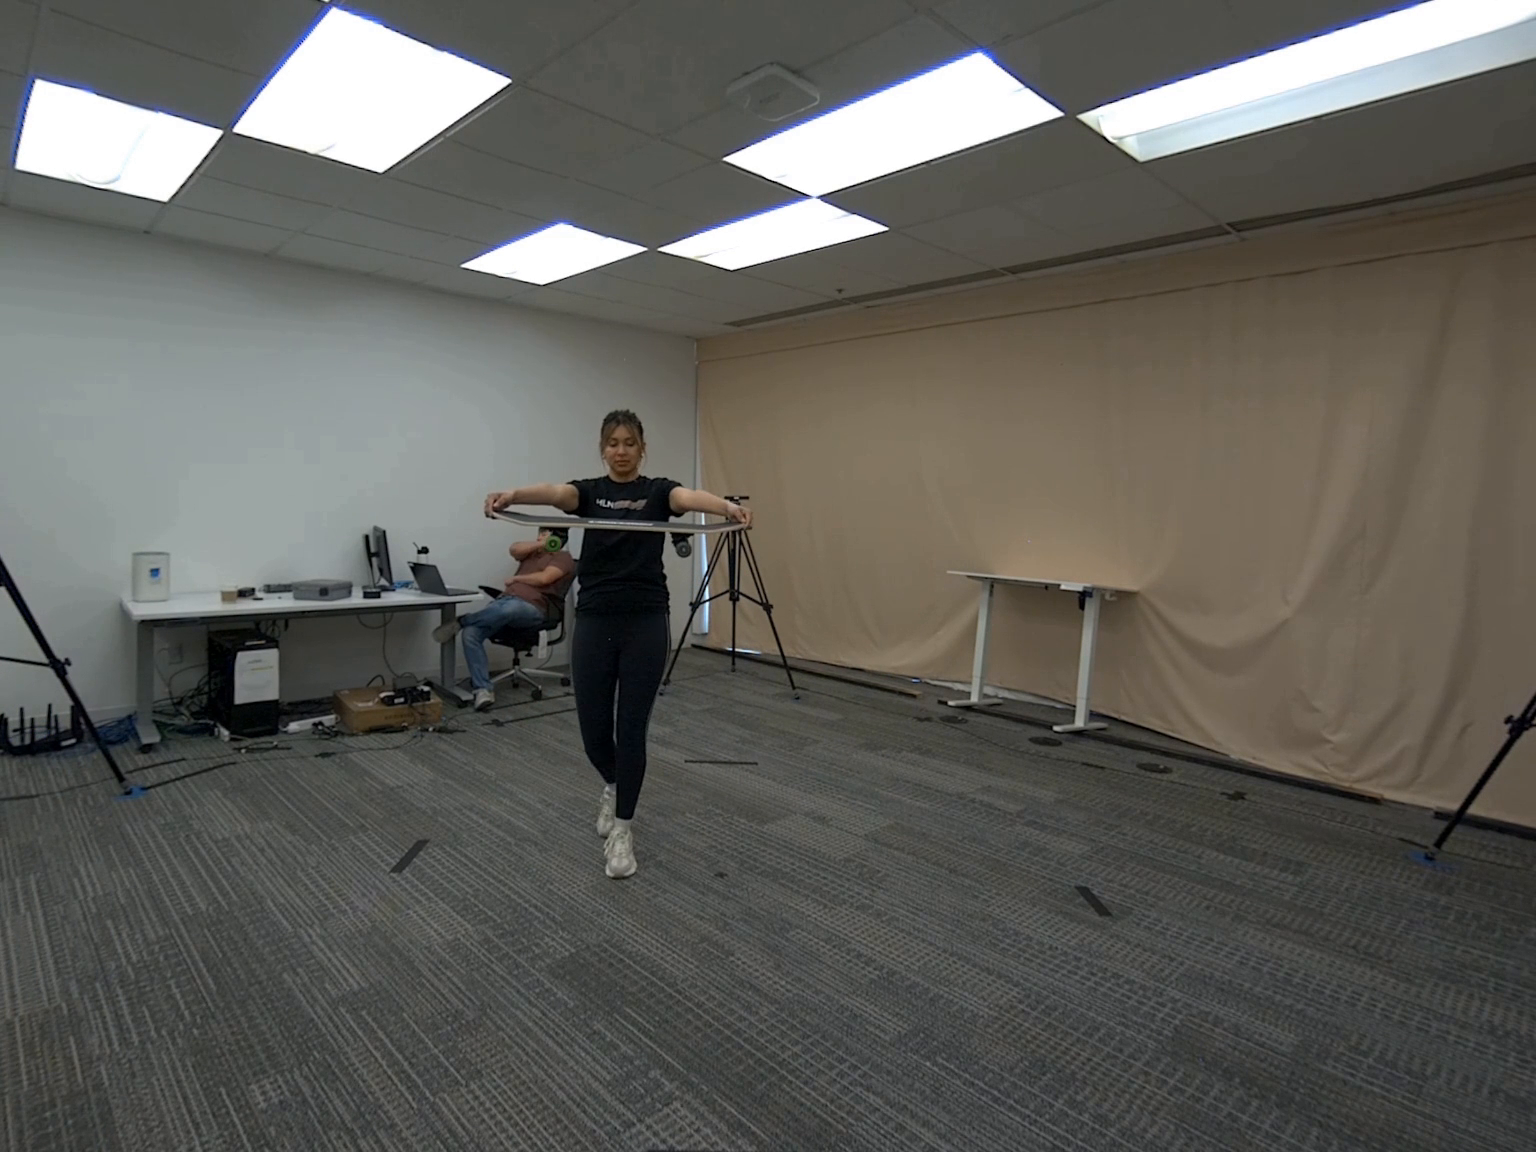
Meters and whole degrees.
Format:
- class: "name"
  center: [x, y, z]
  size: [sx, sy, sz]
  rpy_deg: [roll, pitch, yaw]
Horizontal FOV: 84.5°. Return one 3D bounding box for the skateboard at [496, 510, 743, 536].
- class: "skateboard"
  center: [-0.484, -0.136, 2.638]
  size: [0.778, 0.109, 0.196]
  rpy_deg: [1, 10, -11]
